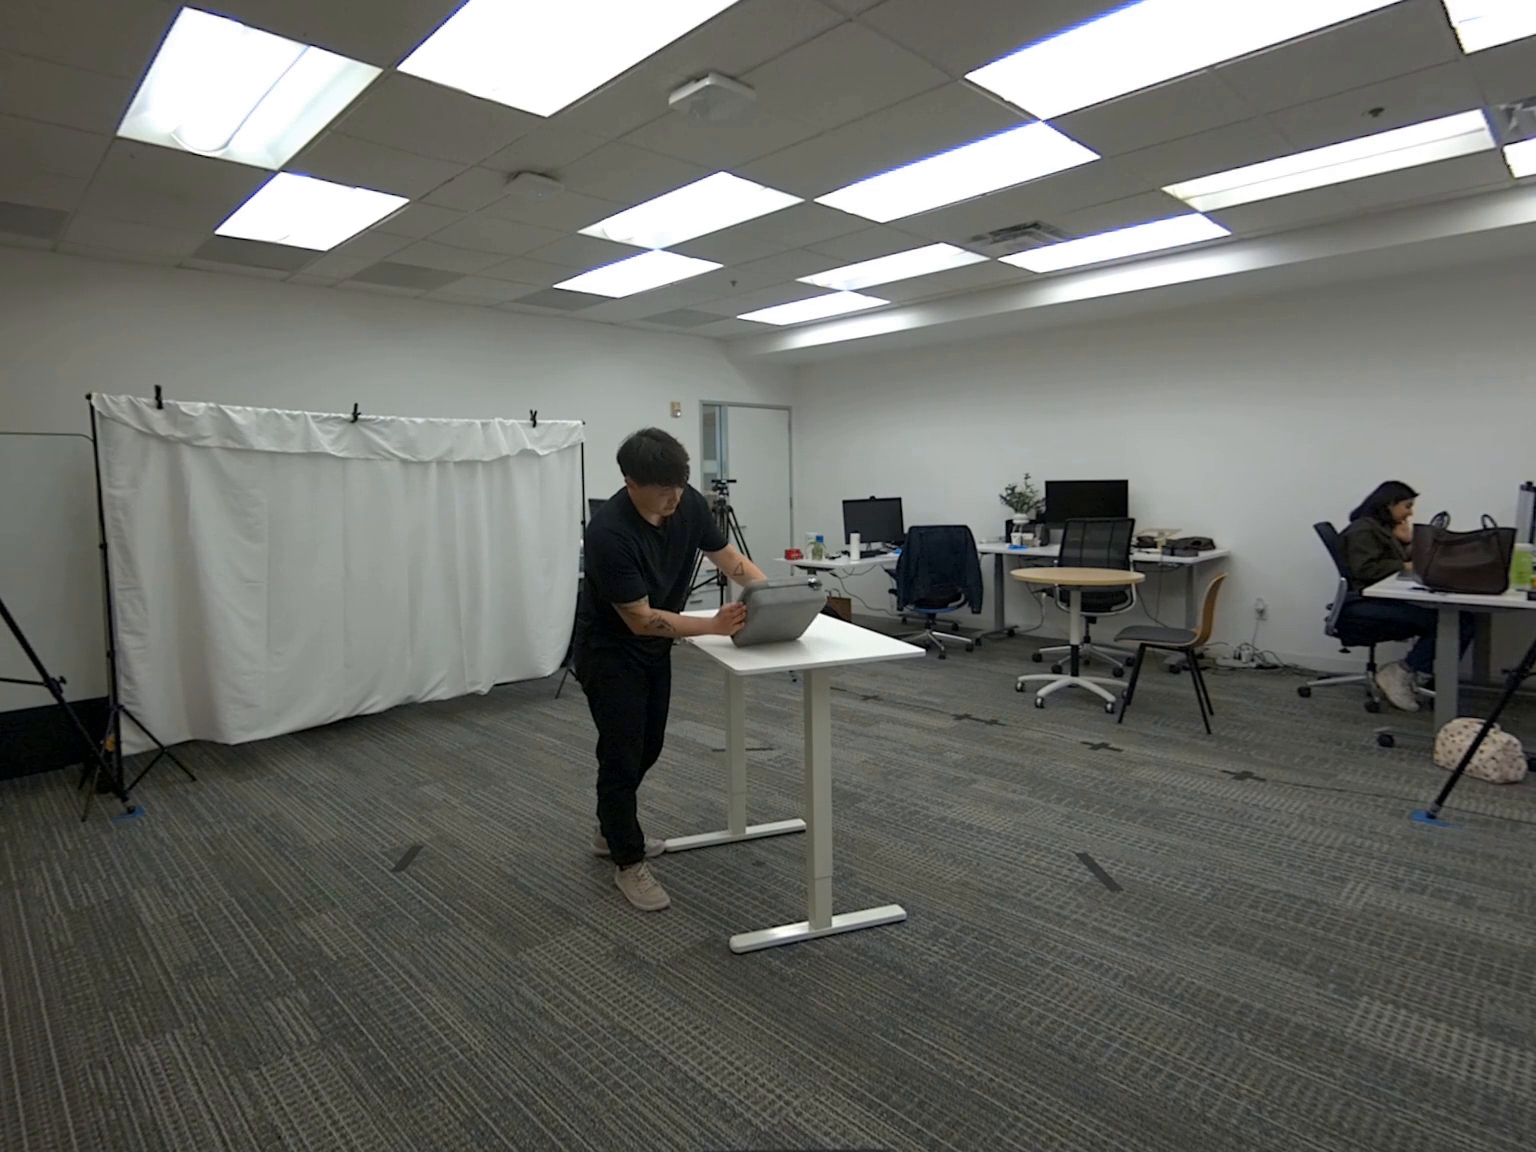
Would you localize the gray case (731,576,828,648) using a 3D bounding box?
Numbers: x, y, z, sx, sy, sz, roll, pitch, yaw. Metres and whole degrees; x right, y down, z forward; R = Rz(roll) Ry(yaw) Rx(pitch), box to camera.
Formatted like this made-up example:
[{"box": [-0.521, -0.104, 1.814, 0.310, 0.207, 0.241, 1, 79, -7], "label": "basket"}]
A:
[{"box": [0.018, 0.111, 2.633, 0.251, 0.108, 0.257, -3, -38, -27], "label": "gray case"}]
